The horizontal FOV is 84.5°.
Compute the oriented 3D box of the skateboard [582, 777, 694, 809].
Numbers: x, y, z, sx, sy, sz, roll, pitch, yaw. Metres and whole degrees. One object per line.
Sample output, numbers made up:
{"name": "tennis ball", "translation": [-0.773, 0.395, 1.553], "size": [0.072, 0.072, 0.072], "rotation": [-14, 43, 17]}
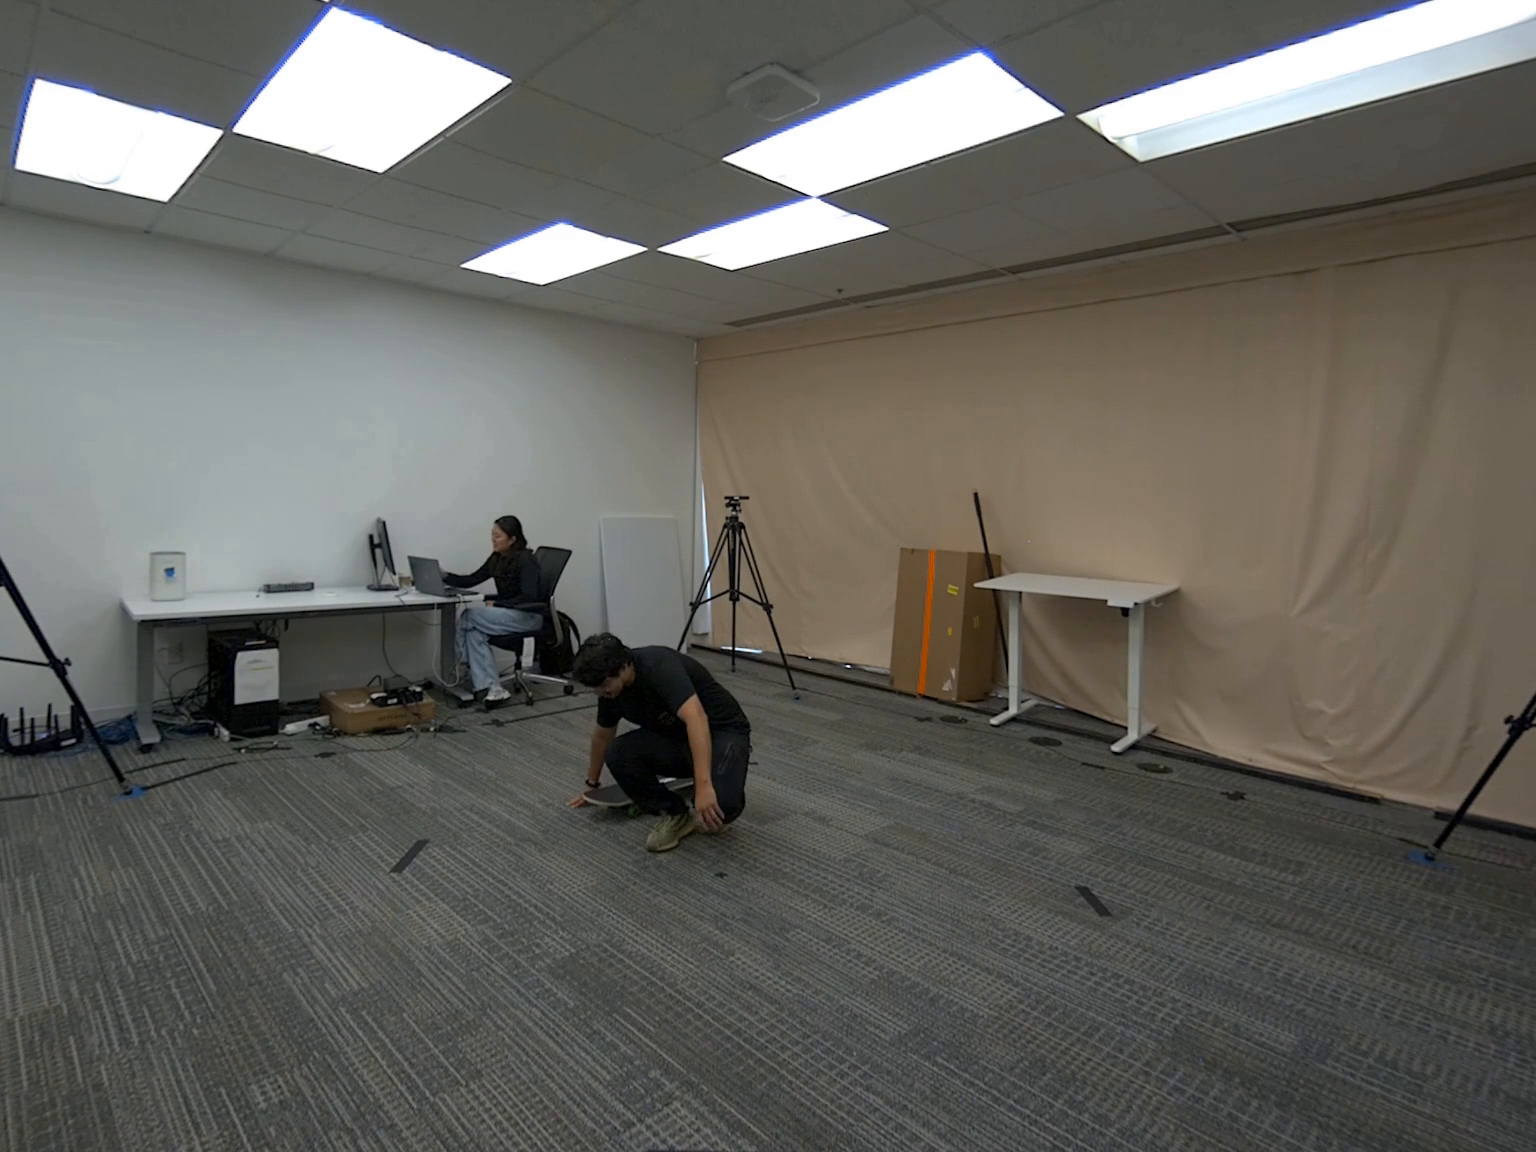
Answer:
{"name": "skateboard", "translation": [-0.518, 0.976, 3.850], "size": [0.198, 0.110, 0.767], "rotation": [9, 8, 43]}
